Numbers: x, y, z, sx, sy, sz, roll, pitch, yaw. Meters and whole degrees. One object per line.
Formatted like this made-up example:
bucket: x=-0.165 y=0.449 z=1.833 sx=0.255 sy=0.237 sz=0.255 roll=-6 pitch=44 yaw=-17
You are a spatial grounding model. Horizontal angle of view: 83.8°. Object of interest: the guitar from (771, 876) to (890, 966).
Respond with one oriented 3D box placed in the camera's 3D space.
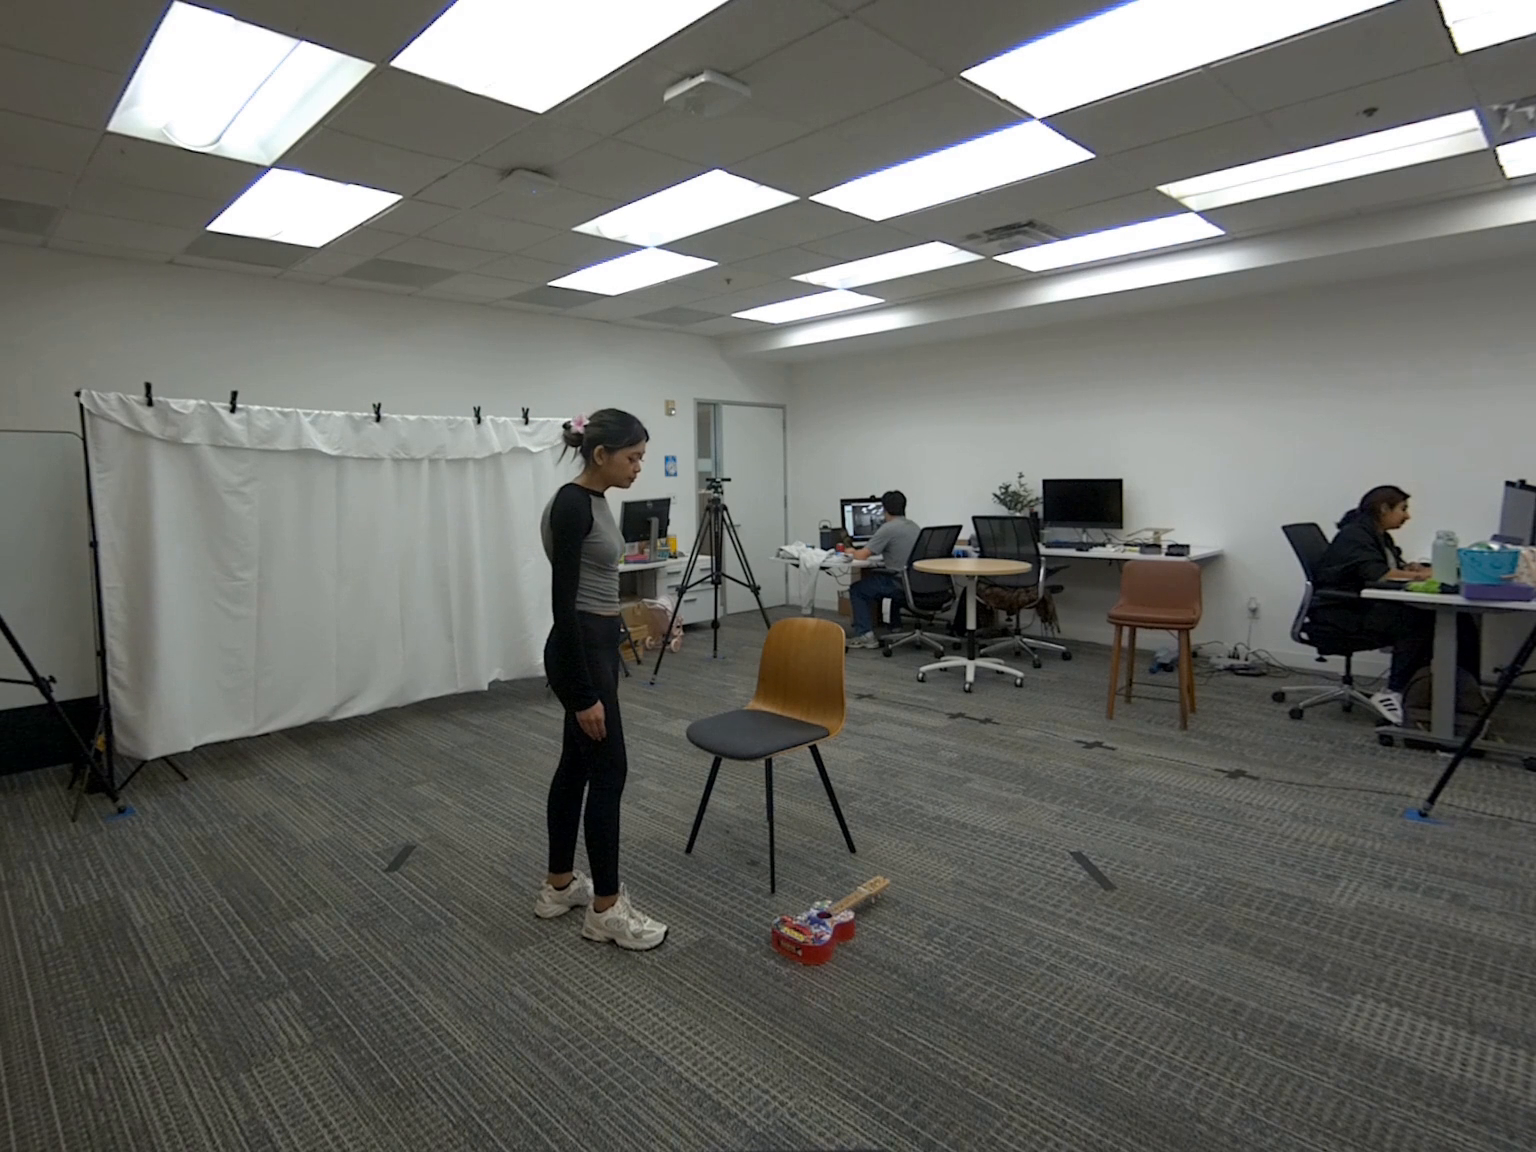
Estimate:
guitar: x=0.238 y=1.052 z=2.639 sx=0.485 sy=0.070 sz=0.199 roll=-7 pitch=8 yaw=-37
